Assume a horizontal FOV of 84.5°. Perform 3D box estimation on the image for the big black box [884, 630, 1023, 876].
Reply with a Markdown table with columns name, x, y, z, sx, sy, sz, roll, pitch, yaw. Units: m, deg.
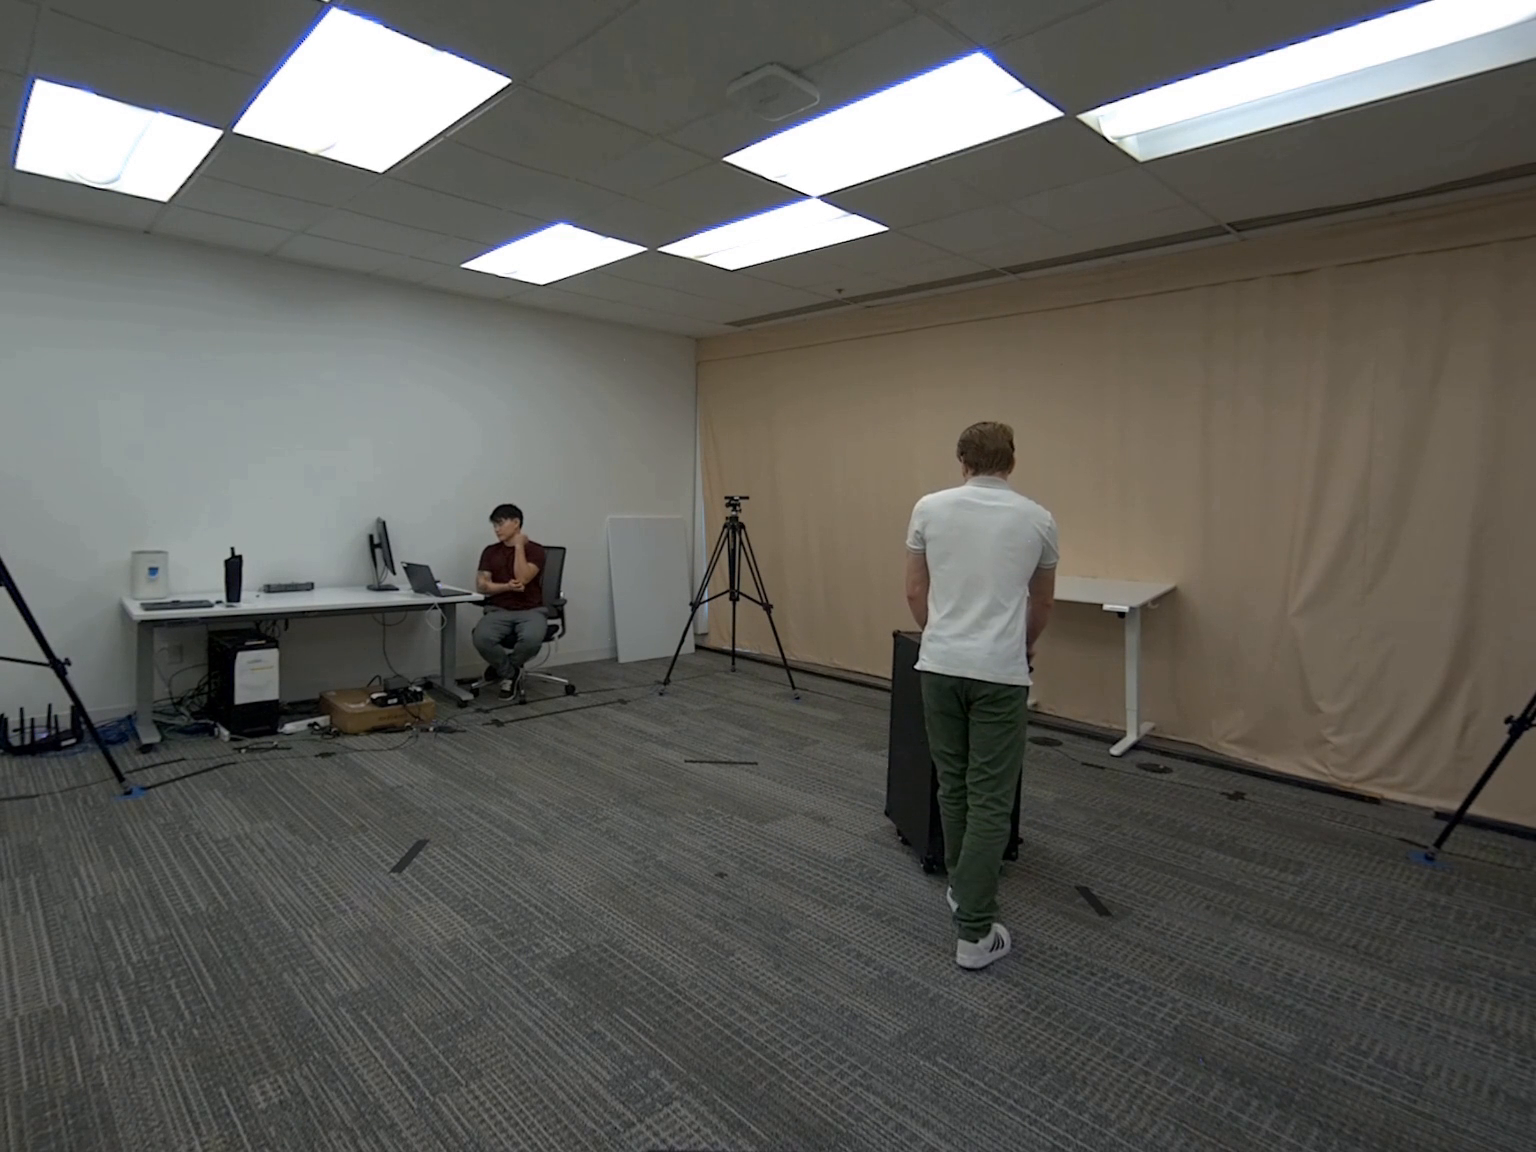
| name | x | y | z | sx | sy | sz | roll | pitch | yaw |
| --- | --- | --- | --- | --- | --- | --- | --- | --- | --- |
| big black box | 0.719 | 0.683 | 3.339 | 0.382 | 0.867 | 0.529 | 2 | 3 | -12 |
